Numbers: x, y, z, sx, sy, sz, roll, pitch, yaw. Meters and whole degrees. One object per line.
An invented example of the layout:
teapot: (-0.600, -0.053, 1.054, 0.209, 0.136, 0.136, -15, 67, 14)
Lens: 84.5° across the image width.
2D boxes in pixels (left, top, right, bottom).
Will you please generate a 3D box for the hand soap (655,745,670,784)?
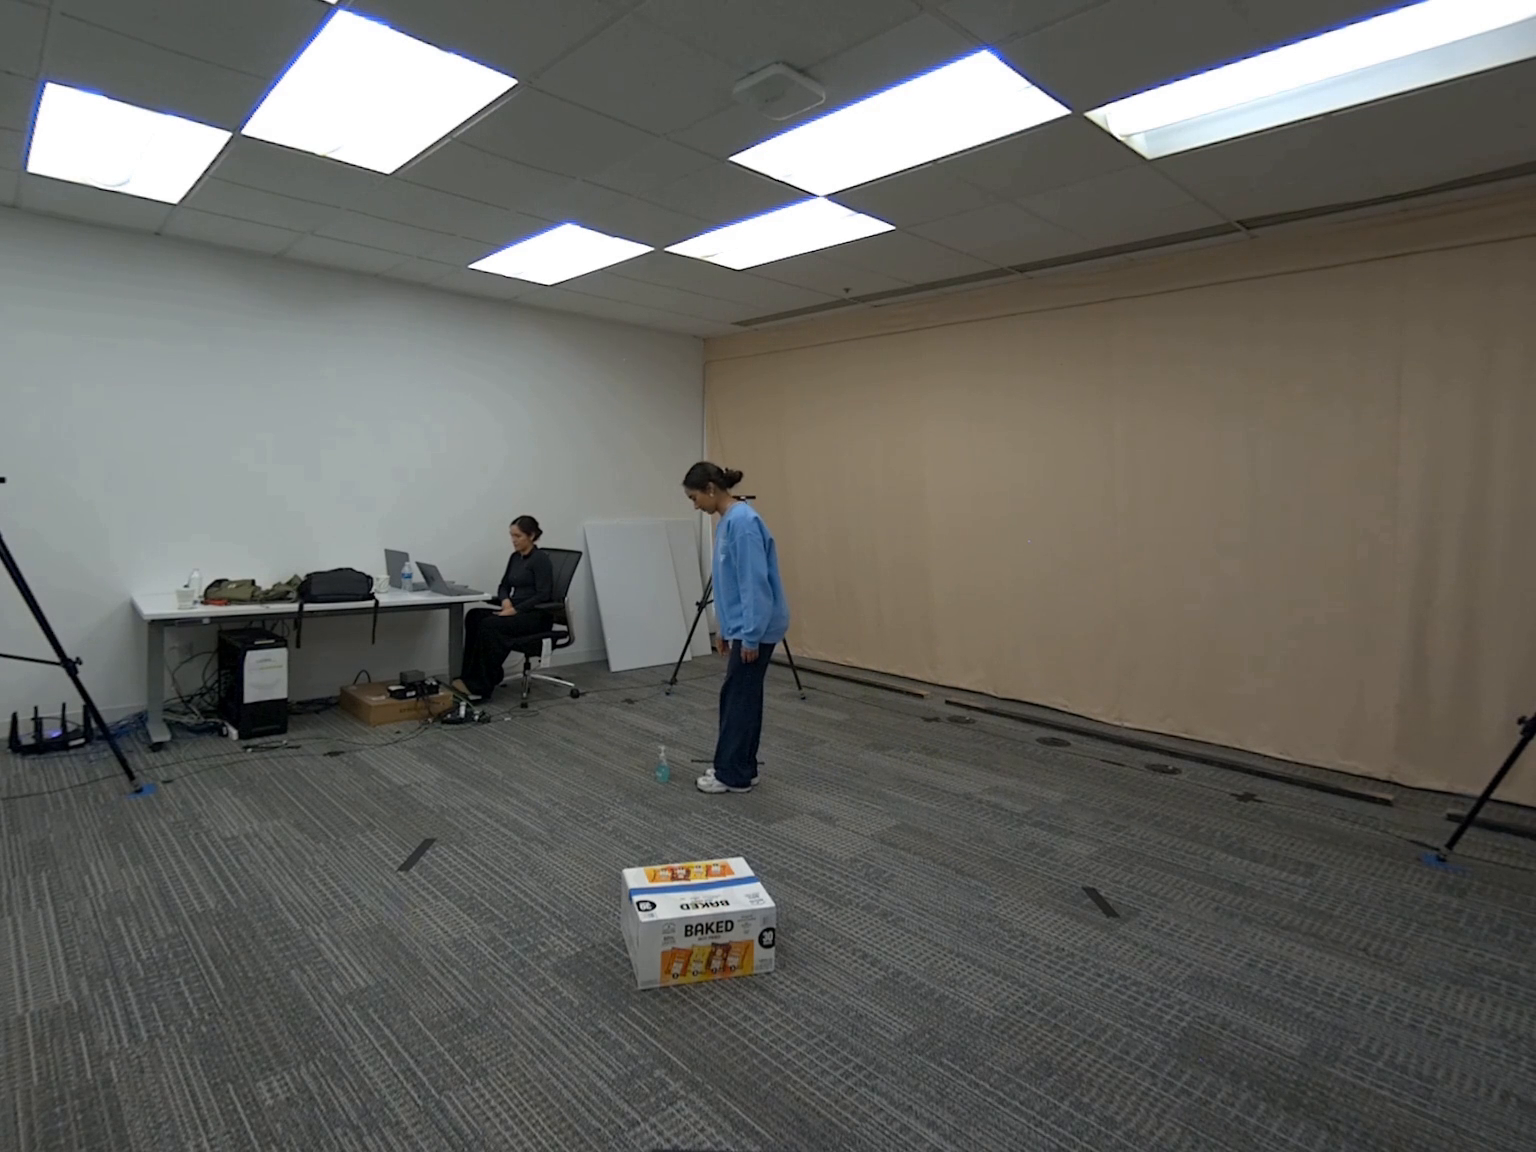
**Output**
hand soap: (-0.521, 0.915, 4.120, 0.087, 0.168, 0.042, 4, 3, 43)
